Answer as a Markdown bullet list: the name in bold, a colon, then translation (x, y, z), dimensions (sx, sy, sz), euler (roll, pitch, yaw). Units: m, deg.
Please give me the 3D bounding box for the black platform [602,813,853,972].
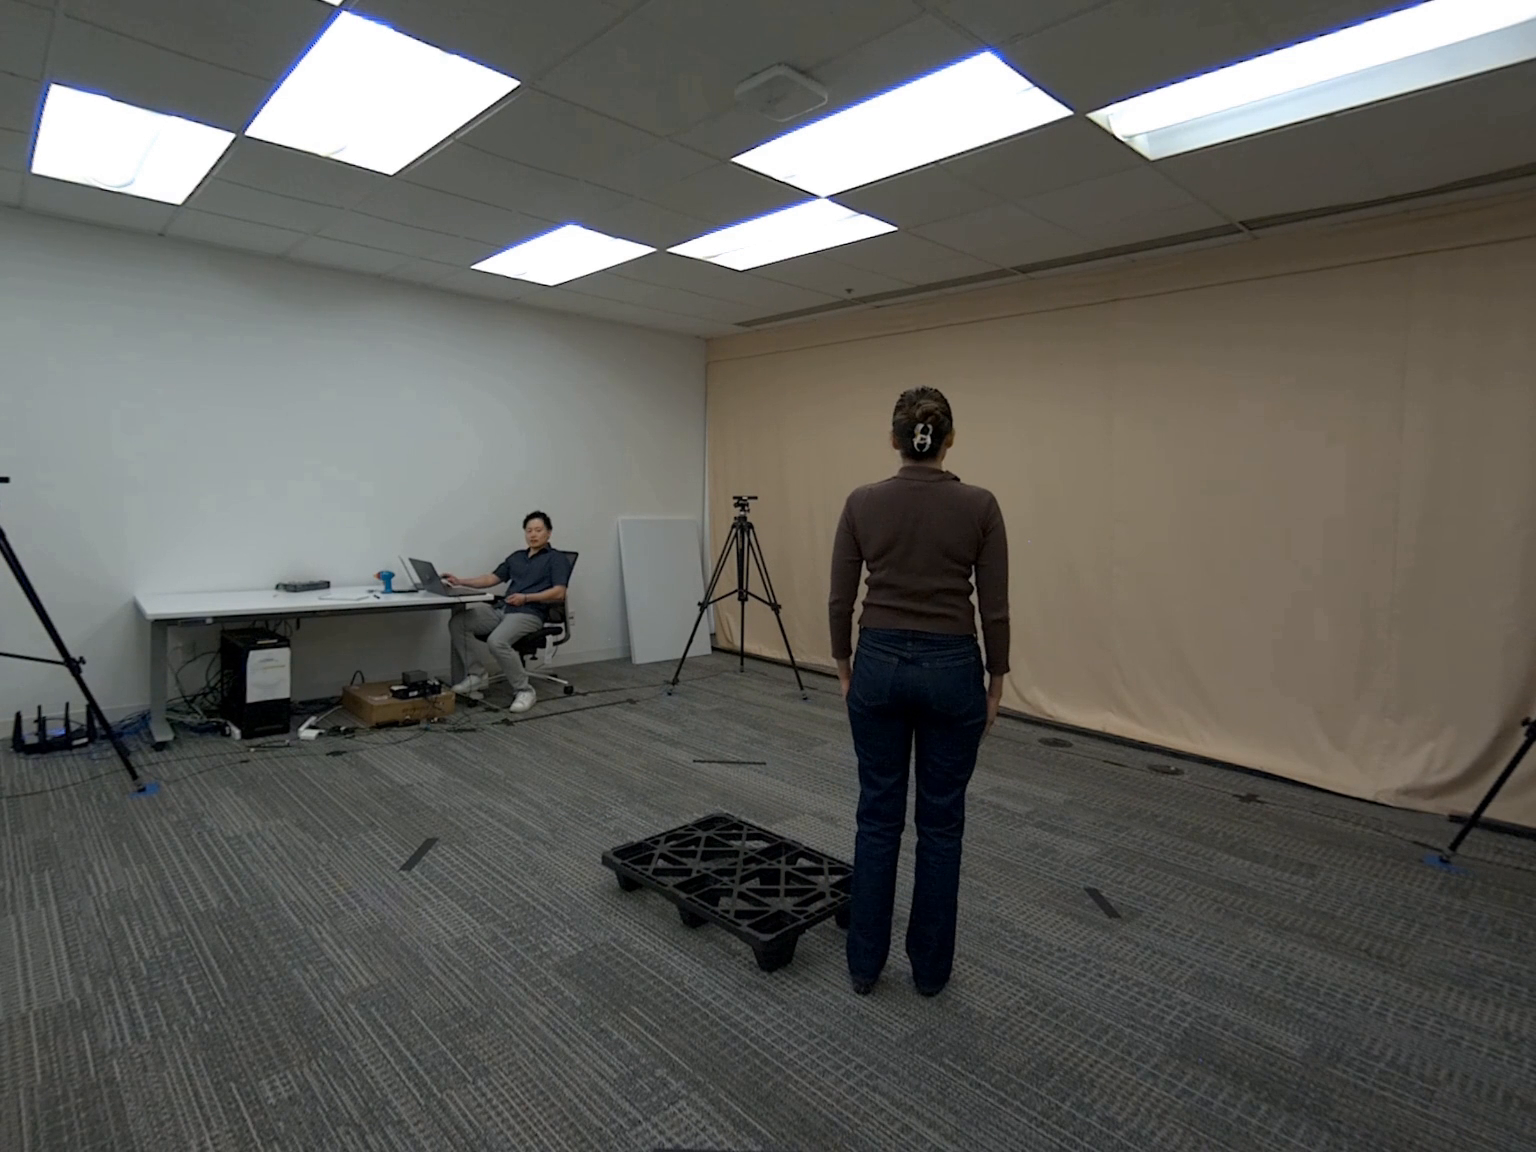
- **black platform**: translation (-0.105, 1.058, 2.879), dimensions (0.826, 0.143, 0.592), euler (6, 8, 44)
